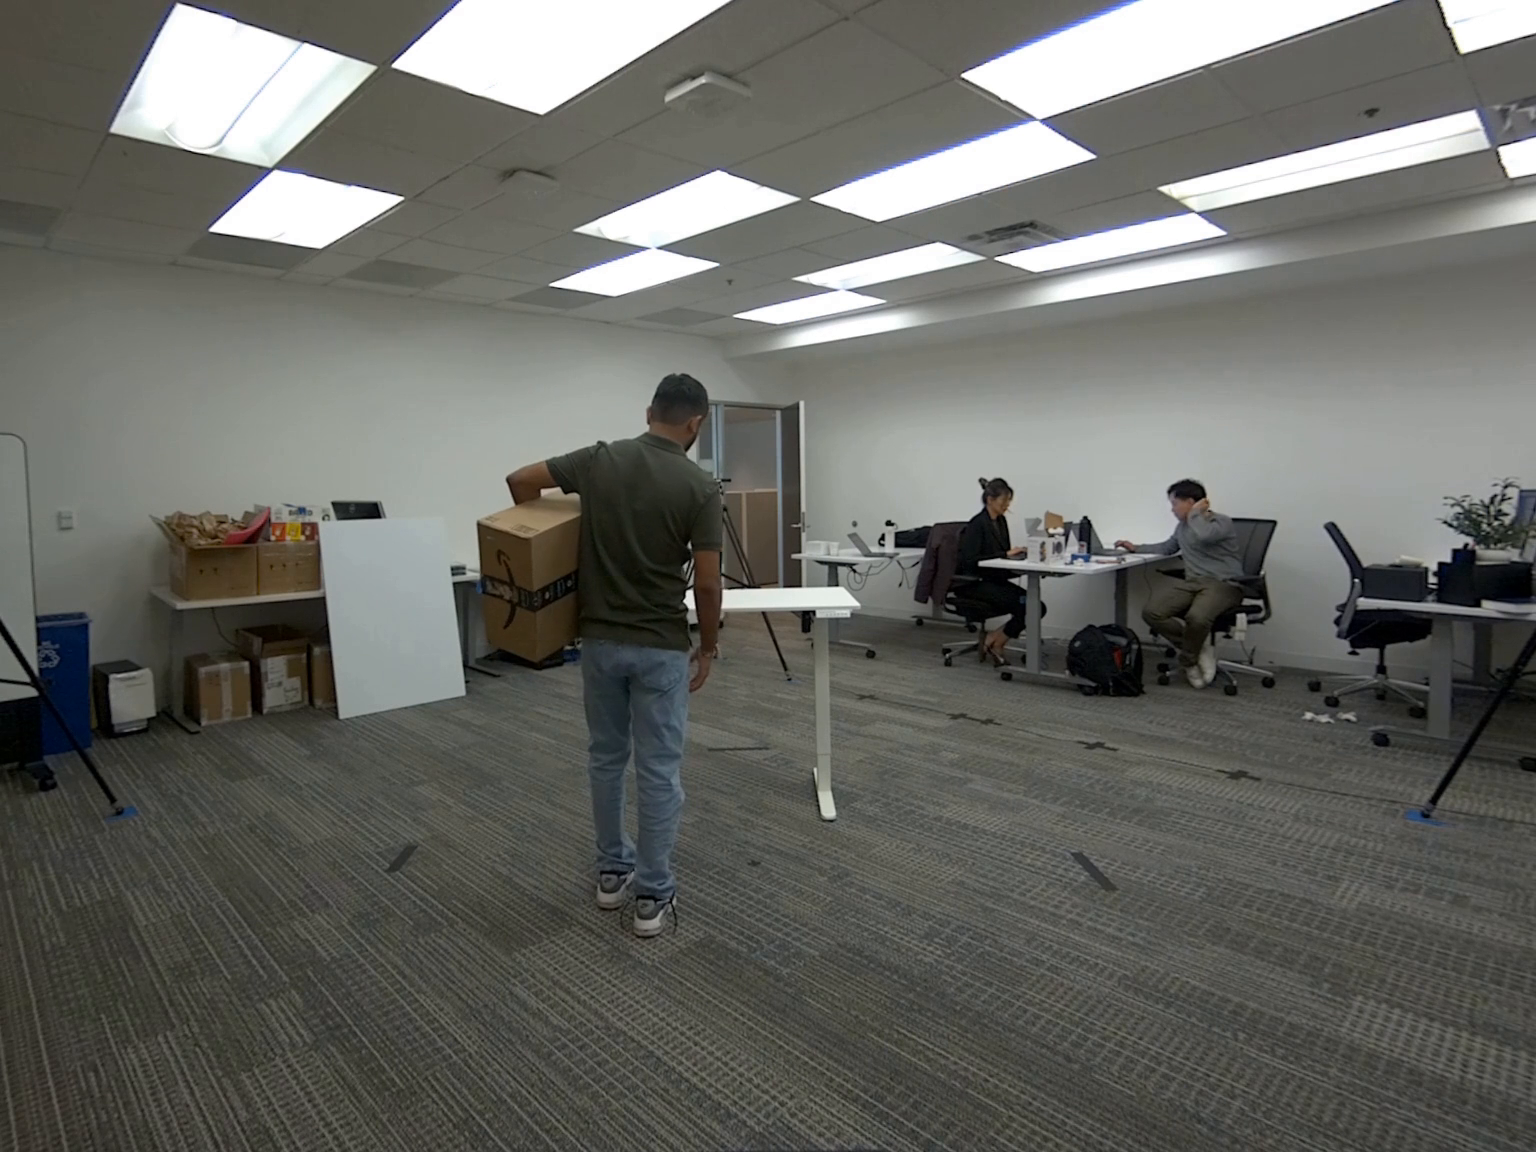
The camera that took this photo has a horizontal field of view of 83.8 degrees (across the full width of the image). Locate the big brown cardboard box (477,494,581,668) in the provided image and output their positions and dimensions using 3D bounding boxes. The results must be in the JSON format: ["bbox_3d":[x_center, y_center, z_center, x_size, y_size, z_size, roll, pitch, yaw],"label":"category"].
[{"bbox_3d":[-0.650,-0.040,2.777,0.240,0.410,0.583,14,26,26],"label":"big brown cardboard box"}]
